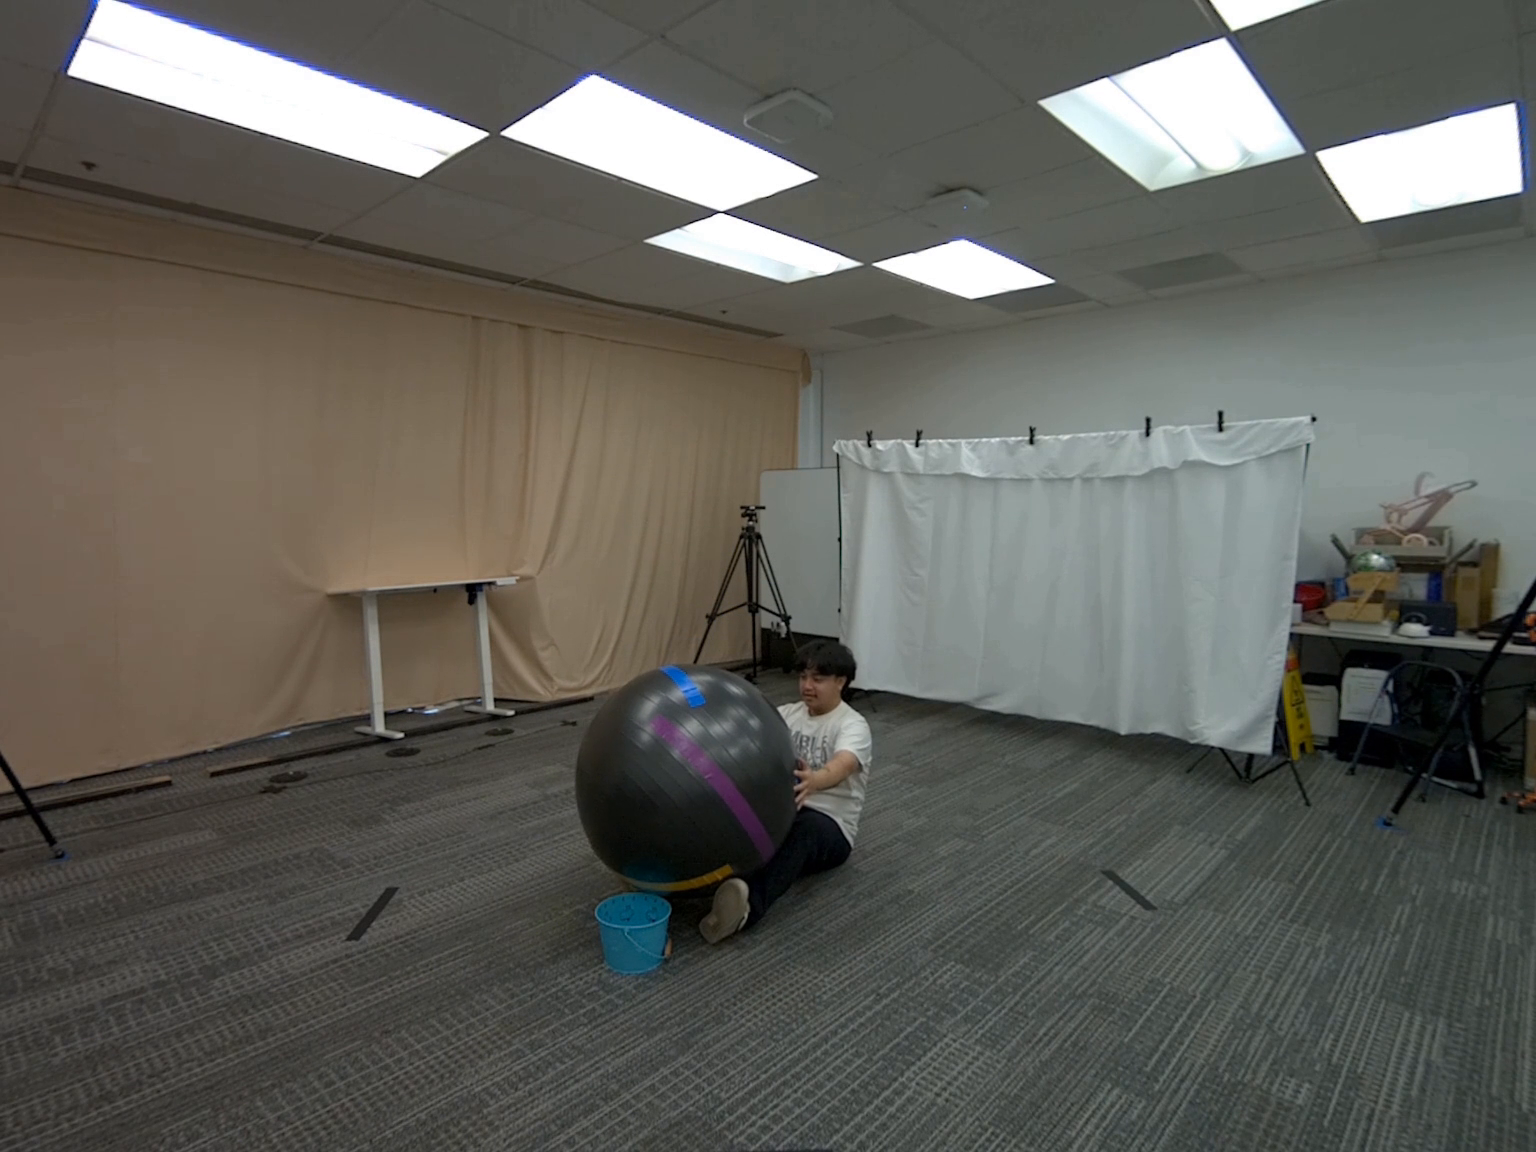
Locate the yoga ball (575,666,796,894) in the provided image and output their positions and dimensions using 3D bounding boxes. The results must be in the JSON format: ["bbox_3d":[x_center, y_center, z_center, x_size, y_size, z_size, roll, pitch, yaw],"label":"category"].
[{"bbox_3d":[-0.275,0.684,2.844,0.757,0.756,0.760,0,4,-2],"label":"yoga ball"}]
